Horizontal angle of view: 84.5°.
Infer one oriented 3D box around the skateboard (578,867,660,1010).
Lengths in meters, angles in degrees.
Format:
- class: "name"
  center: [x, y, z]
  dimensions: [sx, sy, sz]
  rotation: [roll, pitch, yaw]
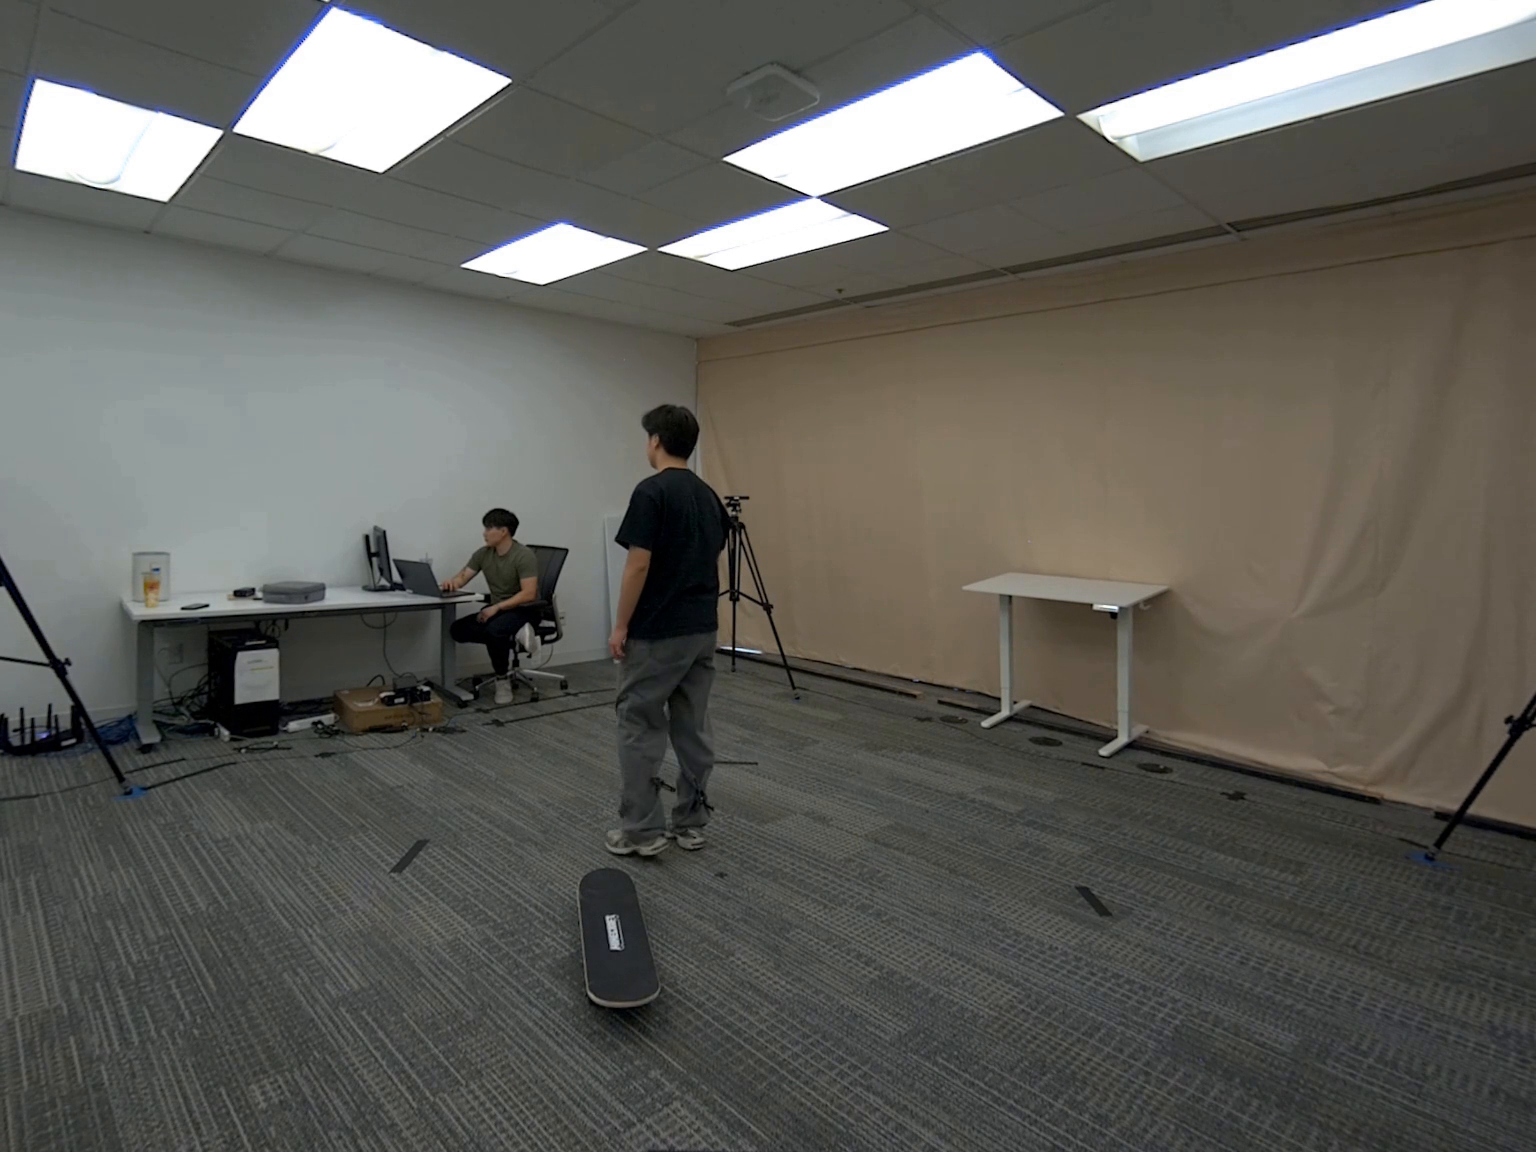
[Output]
- class: "skateboard"
  center: [-0.475, 1.100, 2.507]
  dimensions: [0.191, 0.110, 0.797]
  rotation: [0, 6, -15]
